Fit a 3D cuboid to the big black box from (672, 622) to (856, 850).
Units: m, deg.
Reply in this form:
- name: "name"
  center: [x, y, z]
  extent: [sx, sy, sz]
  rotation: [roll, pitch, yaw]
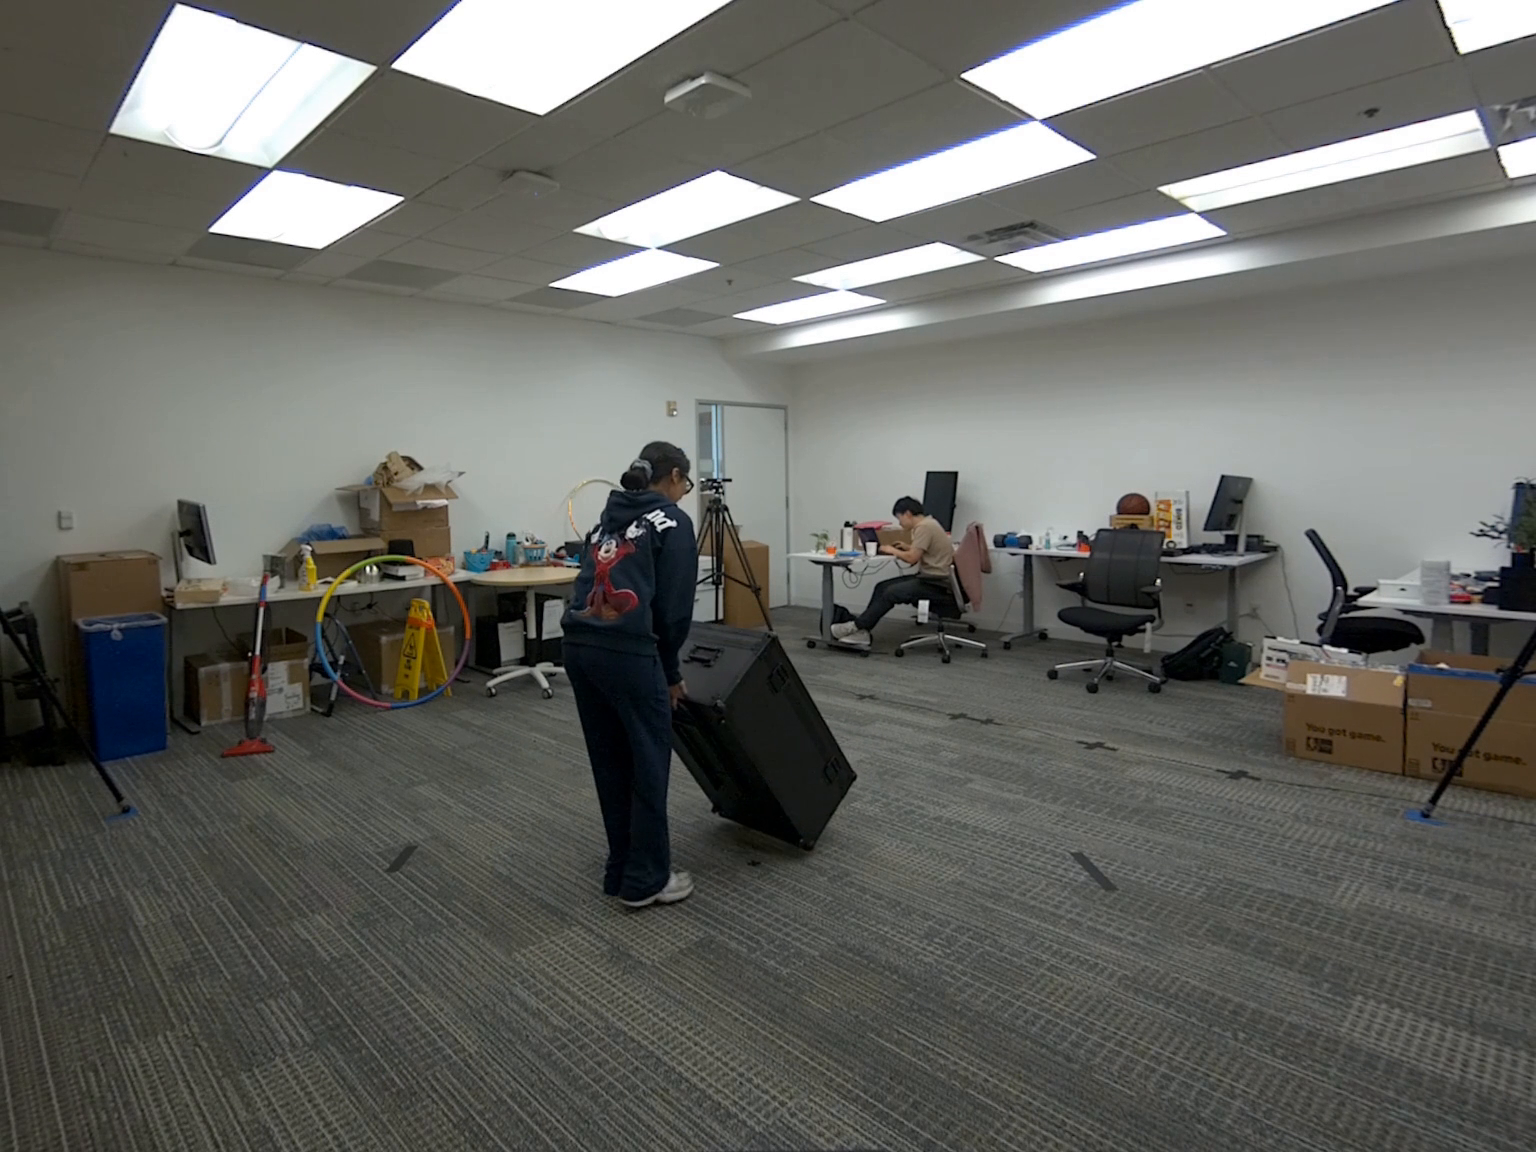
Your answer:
- name: "big black box"
  center: [-0.066, 0.622, 3.238]
  extent: [0.537, 0.834, 0.397]
  rotation: [4, 44, 44]
